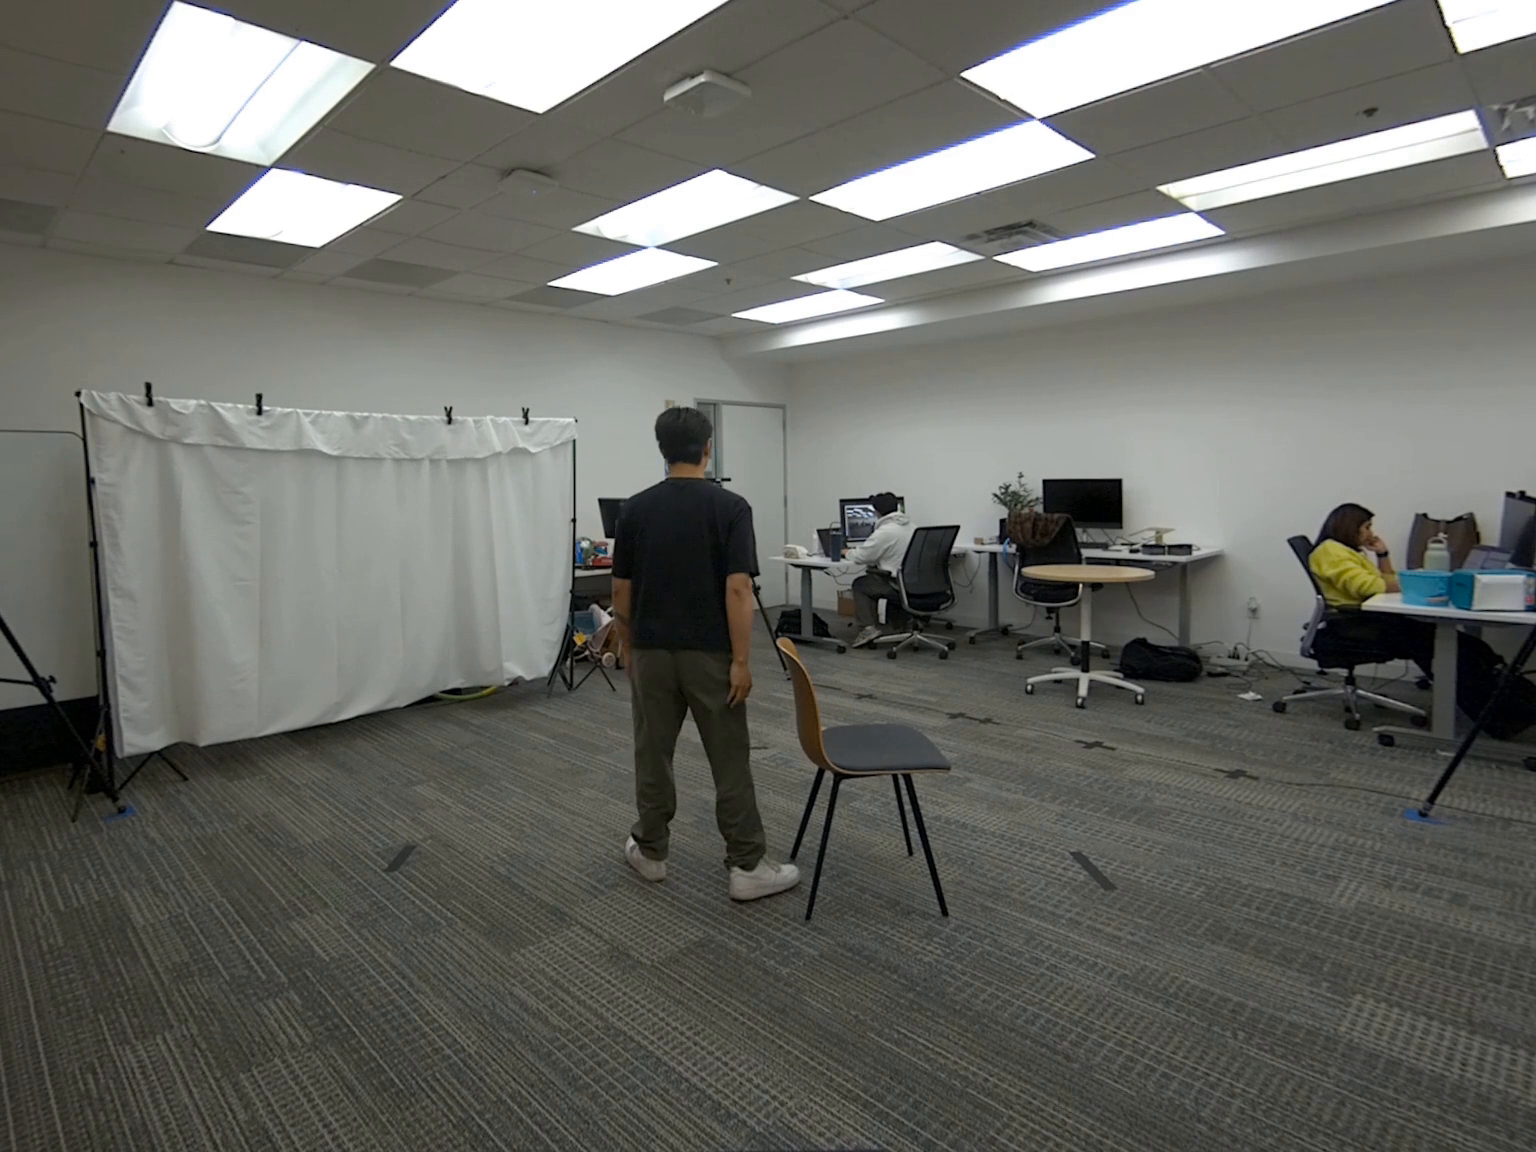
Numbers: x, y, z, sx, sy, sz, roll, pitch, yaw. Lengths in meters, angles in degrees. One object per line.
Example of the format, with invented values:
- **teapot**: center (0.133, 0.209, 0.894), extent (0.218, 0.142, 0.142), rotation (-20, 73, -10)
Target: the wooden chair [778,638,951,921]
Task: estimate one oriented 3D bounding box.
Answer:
- **wooden chair**: center (0.327, 0.628, 2.898), extent (0.522, 0.875, 0.481), rotation (-5, 3, -3)
